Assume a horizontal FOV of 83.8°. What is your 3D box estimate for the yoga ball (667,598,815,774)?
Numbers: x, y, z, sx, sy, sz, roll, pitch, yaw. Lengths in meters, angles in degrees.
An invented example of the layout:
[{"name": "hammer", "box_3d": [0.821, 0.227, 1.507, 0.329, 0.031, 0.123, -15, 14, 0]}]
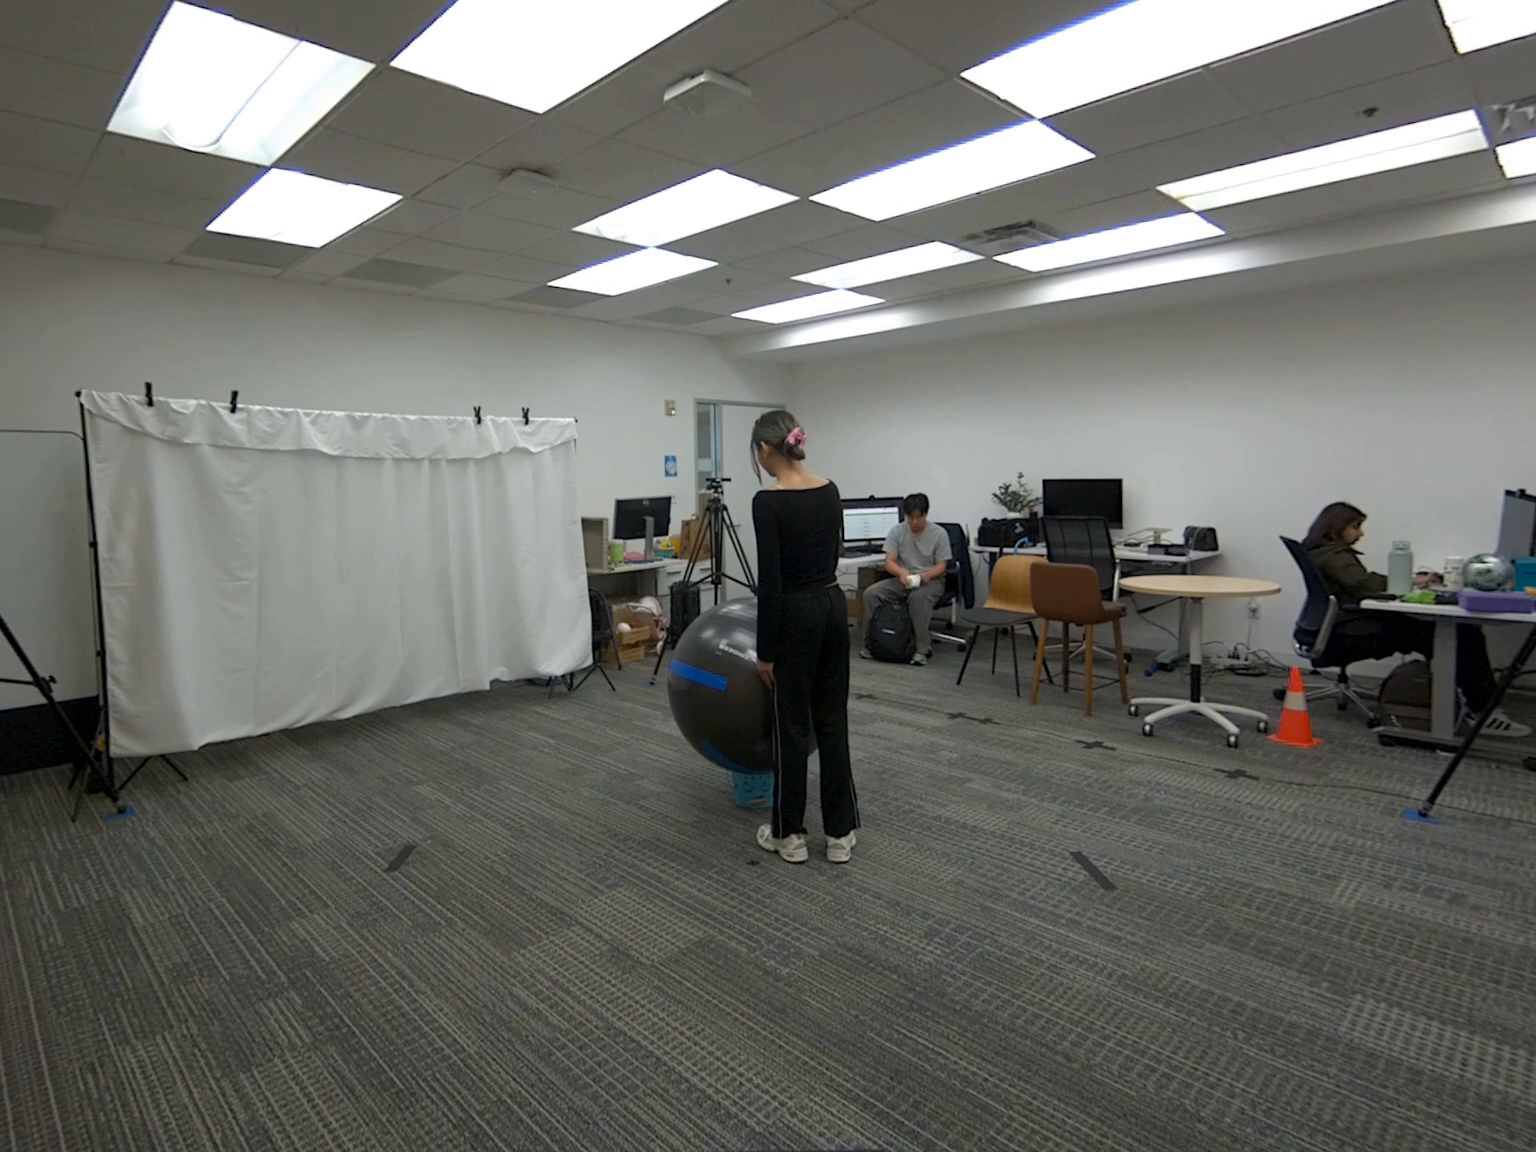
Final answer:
[{"name": "yoga ball", "box_3d": [-0.060, 0.467, 3.693, 0.757, 0.755, 0.762, -1, 5, -2]}]
